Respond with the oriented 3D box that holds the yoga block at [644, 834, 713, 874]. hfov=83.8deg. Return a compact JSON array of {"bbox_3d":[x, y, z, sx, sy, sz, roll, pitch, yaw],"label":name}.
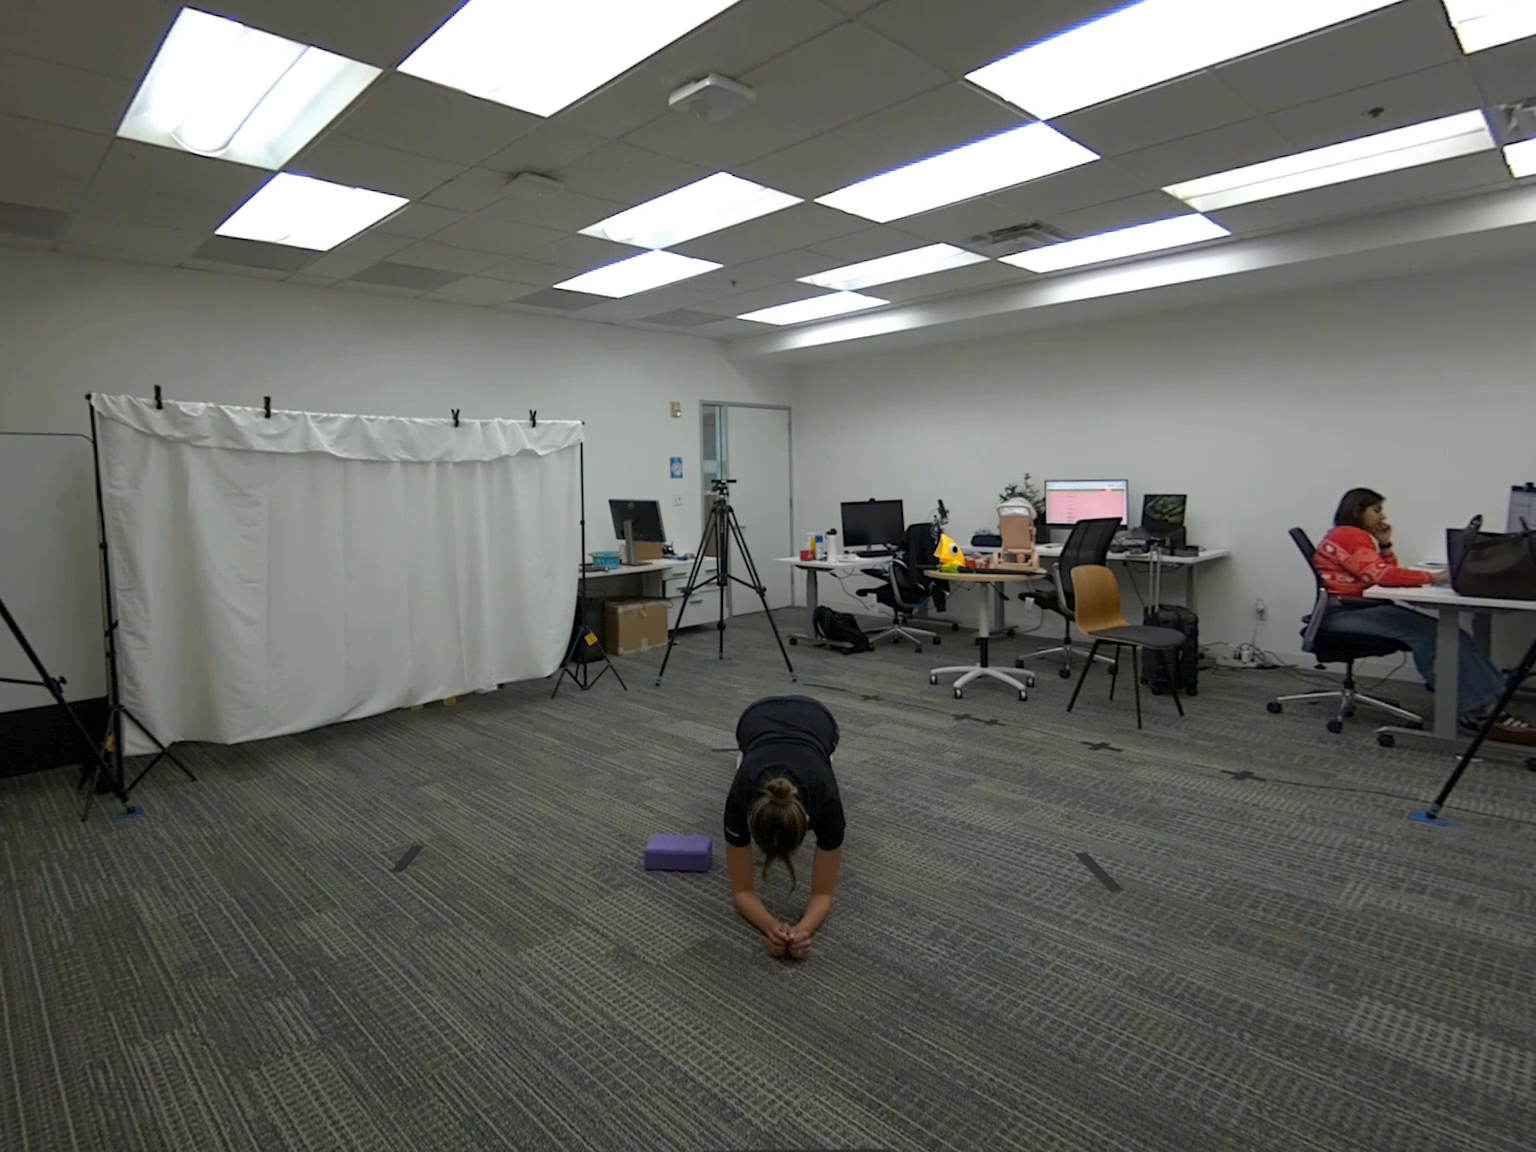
[{"bbox_3d":[-0.324,1.007,3.123,0.231,0.076,0.148,2,5,7],"label":"yoga block"}]
